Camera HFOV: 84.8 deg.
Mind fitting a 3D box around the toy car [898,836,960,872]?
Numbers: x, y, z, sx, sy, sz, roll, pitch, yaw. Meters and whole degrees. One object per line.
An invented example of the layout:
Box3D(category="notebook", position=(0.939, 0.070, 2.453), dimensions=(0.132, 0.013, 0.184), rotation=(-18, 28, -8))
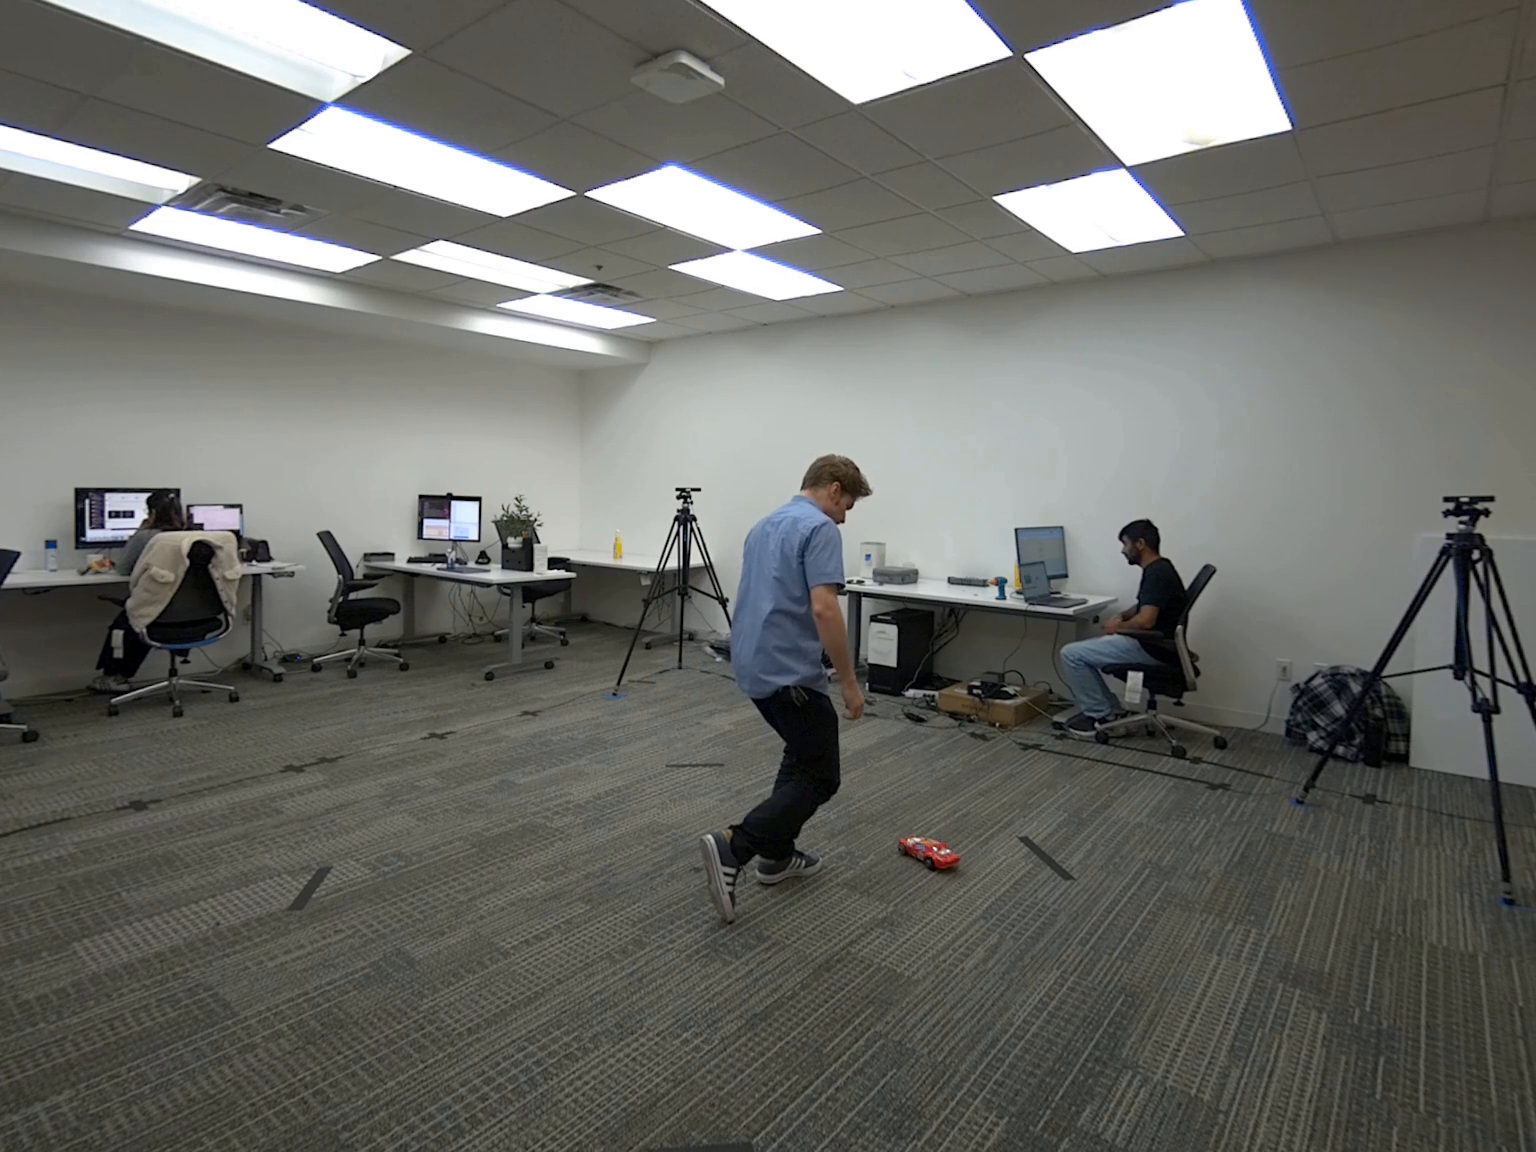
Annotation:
Box3D(category="toy car", position=(0.608, 1.046, 3.219), dimensions=(0.126, 0.083, 0.261), rotation=(-1, -3, -33))
